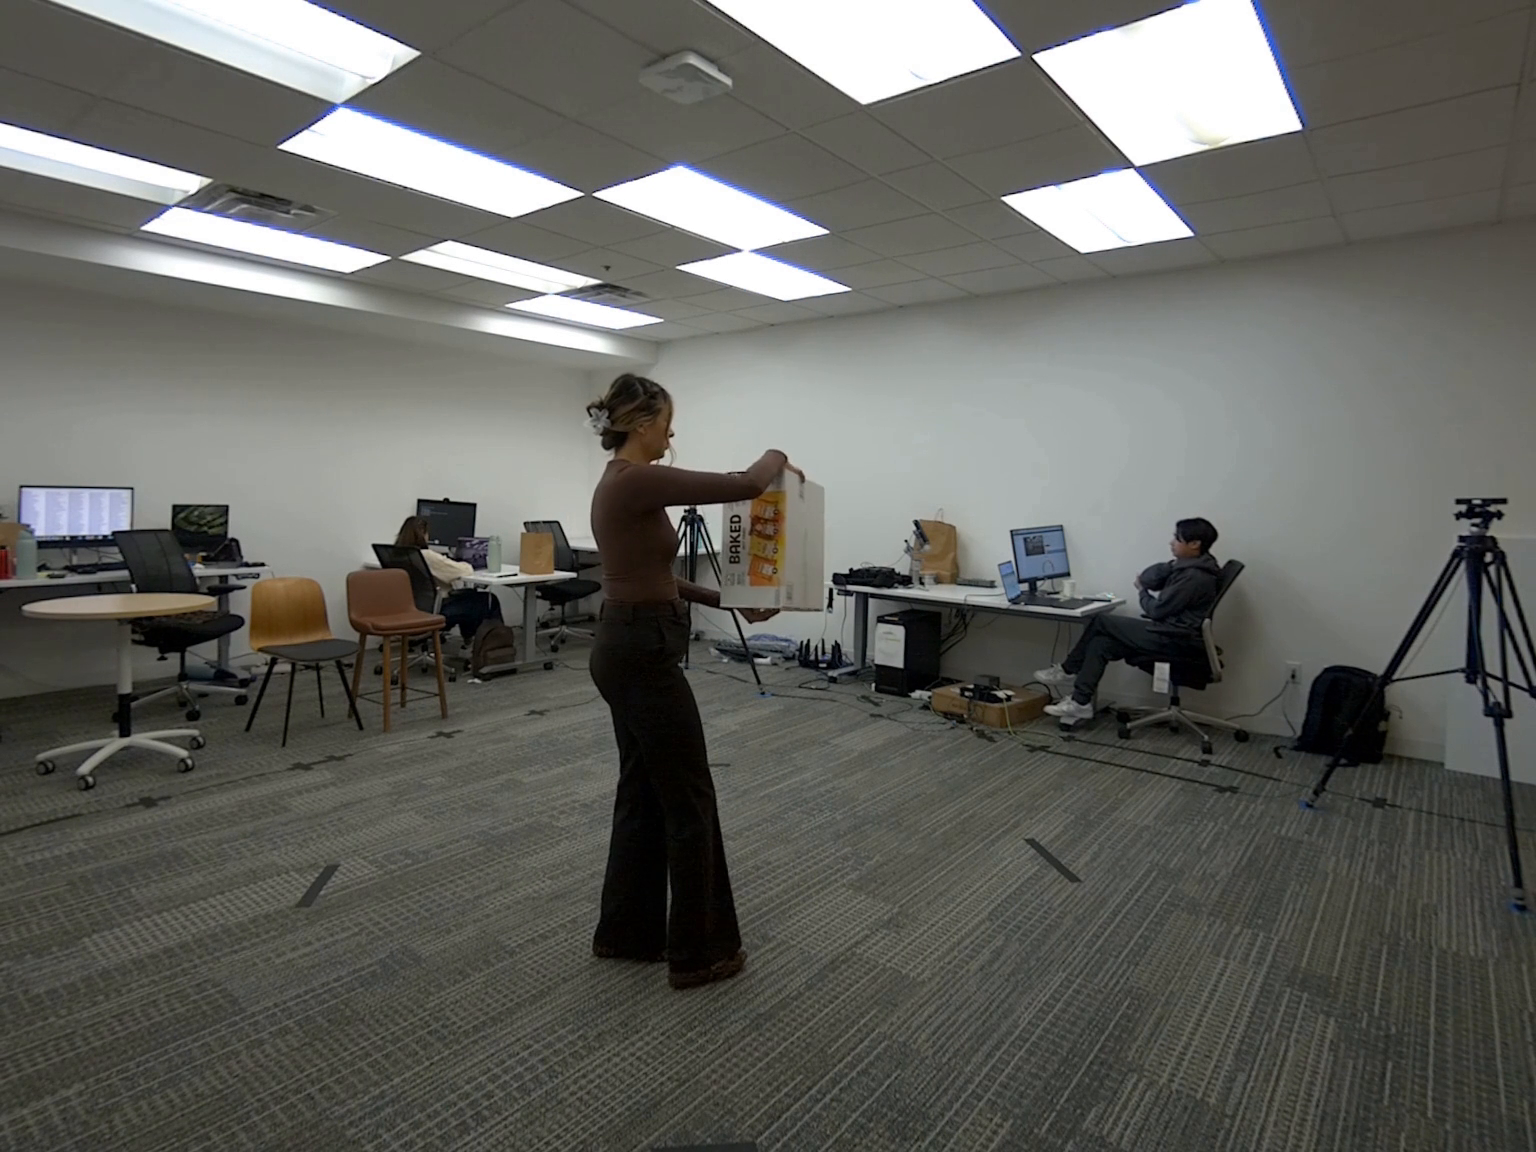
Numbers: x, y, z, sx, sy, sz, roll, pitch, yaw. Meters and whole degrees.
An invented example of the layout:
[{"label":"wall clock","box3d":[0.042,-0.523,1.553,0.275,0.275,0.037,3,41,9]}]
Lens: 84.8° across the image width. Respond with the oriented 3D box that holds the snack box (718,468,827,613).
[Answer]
[{"label":"snack box","box3d":[0.011,-0.095,2.615,0.211,0.407,0.330,-1,-6,25]}]
